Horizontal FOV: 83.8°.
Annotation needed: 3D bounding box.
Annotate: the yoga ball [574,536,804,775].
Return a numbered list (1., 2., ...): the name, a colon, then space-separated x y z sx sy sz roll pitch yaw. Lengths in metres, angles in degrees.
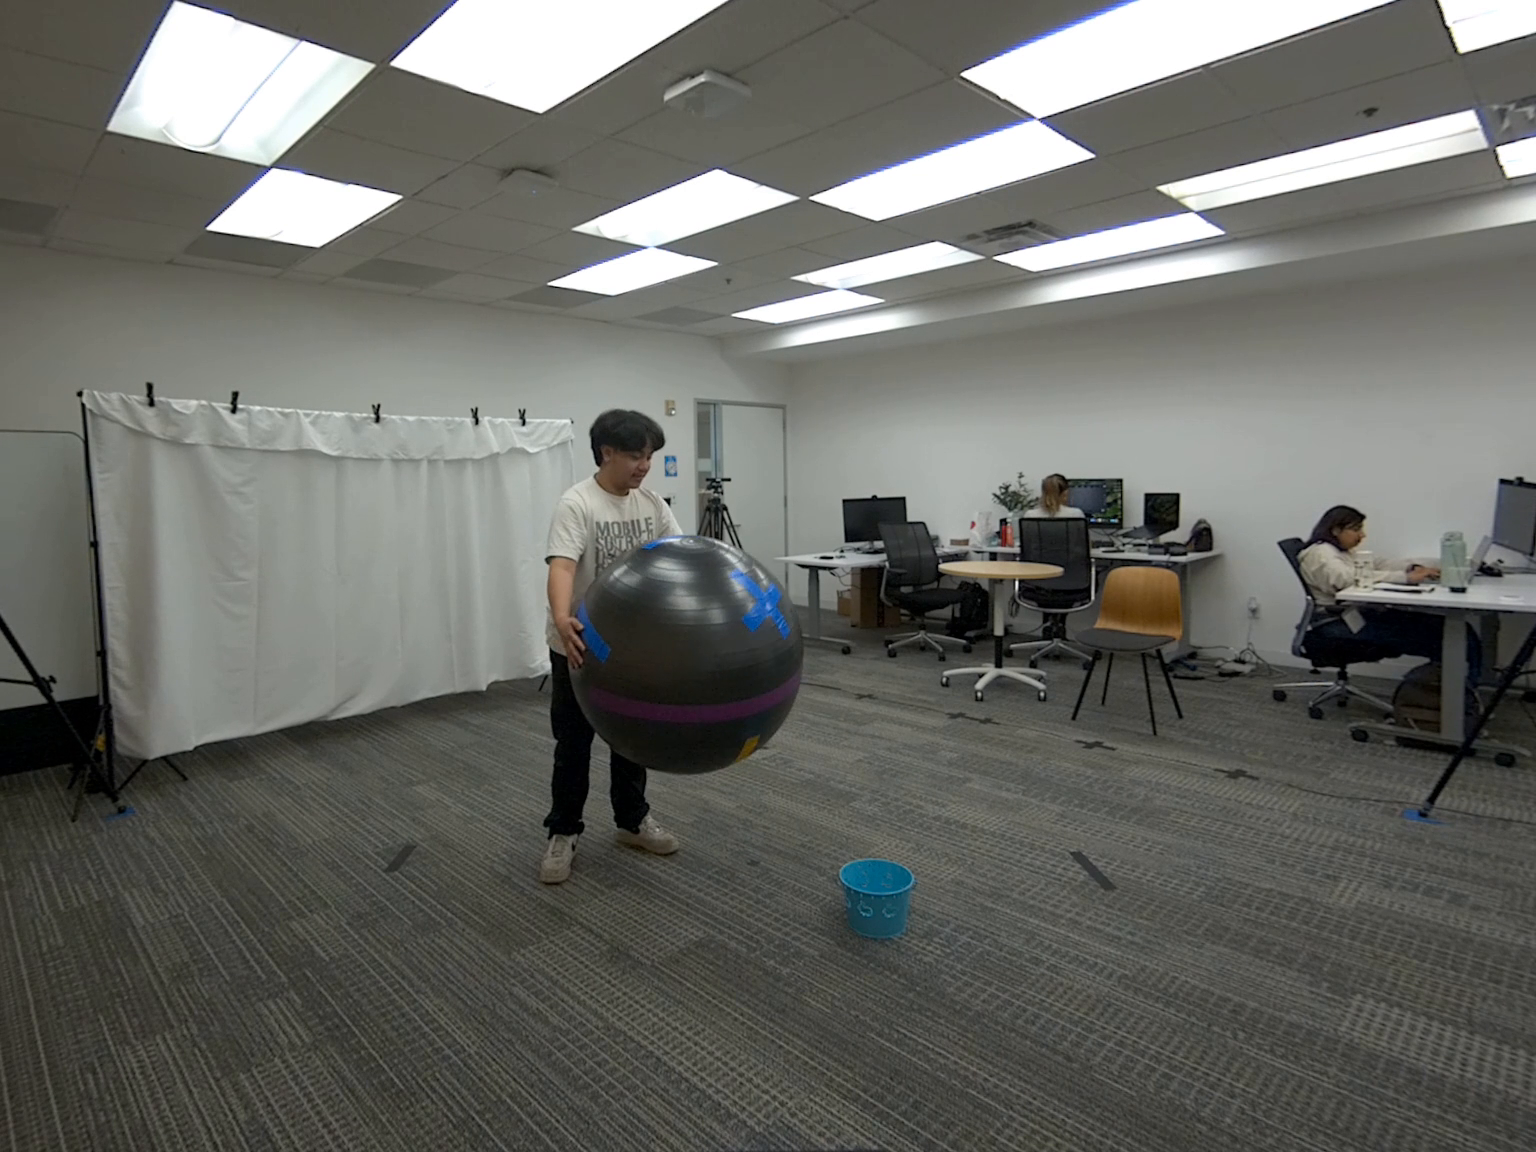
1. yoga ball: -0.267 0.261 2.757 0.757 0.755 0.762 -1 5 -2
